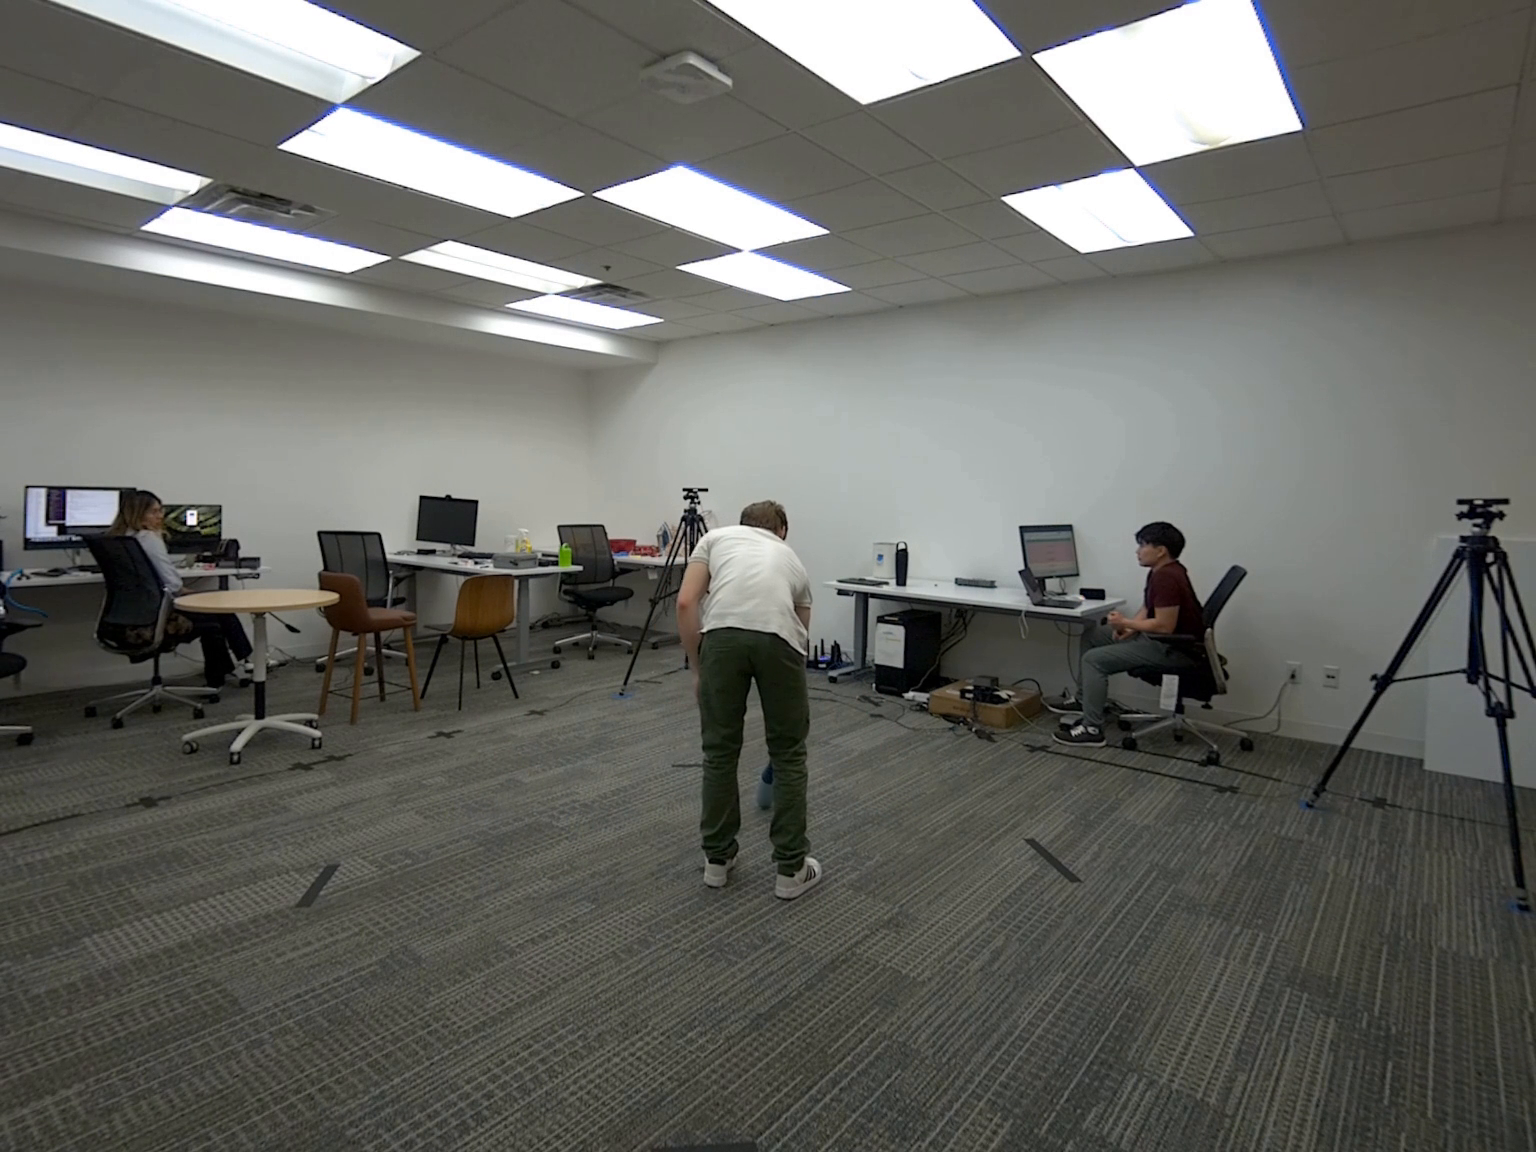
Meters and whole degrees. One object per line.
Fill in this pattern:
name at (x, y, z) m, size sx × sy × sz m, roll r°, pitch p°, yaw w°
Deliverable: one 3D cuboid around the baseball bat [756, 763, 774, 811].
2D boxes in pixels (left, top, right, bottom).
baseball bat at (-0.002, 0.831, 3.558) m, size 0.089 × 0.091 × 0.529 m, roll 2°, pitch -37°, yaw -3°
